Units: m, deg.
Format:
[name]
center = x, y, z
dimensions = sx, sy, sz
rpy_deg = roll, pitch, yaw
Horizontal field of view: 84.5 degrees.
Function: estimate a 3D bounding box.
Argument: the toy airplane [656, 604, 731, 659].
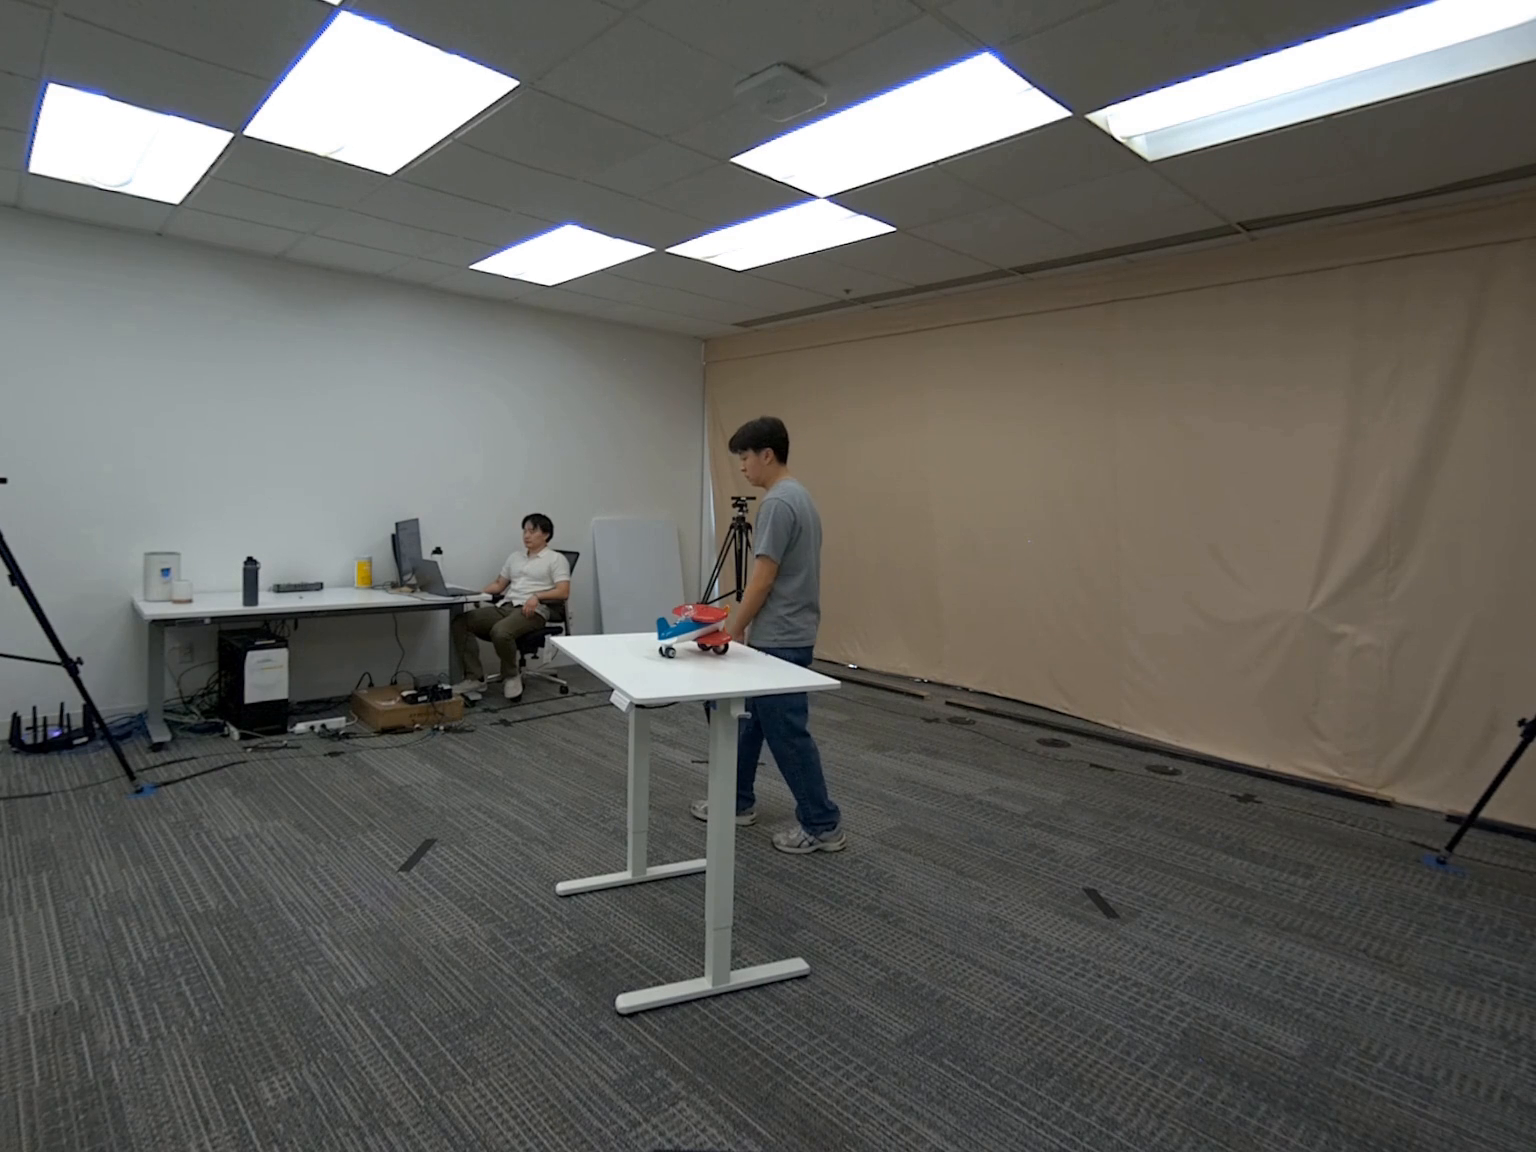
[toy airplane]
center = -0.241, 0.180, 2.705
dimensions = 0.256, 0.156, 0.255
rpy_deg = 2, 3, 24
